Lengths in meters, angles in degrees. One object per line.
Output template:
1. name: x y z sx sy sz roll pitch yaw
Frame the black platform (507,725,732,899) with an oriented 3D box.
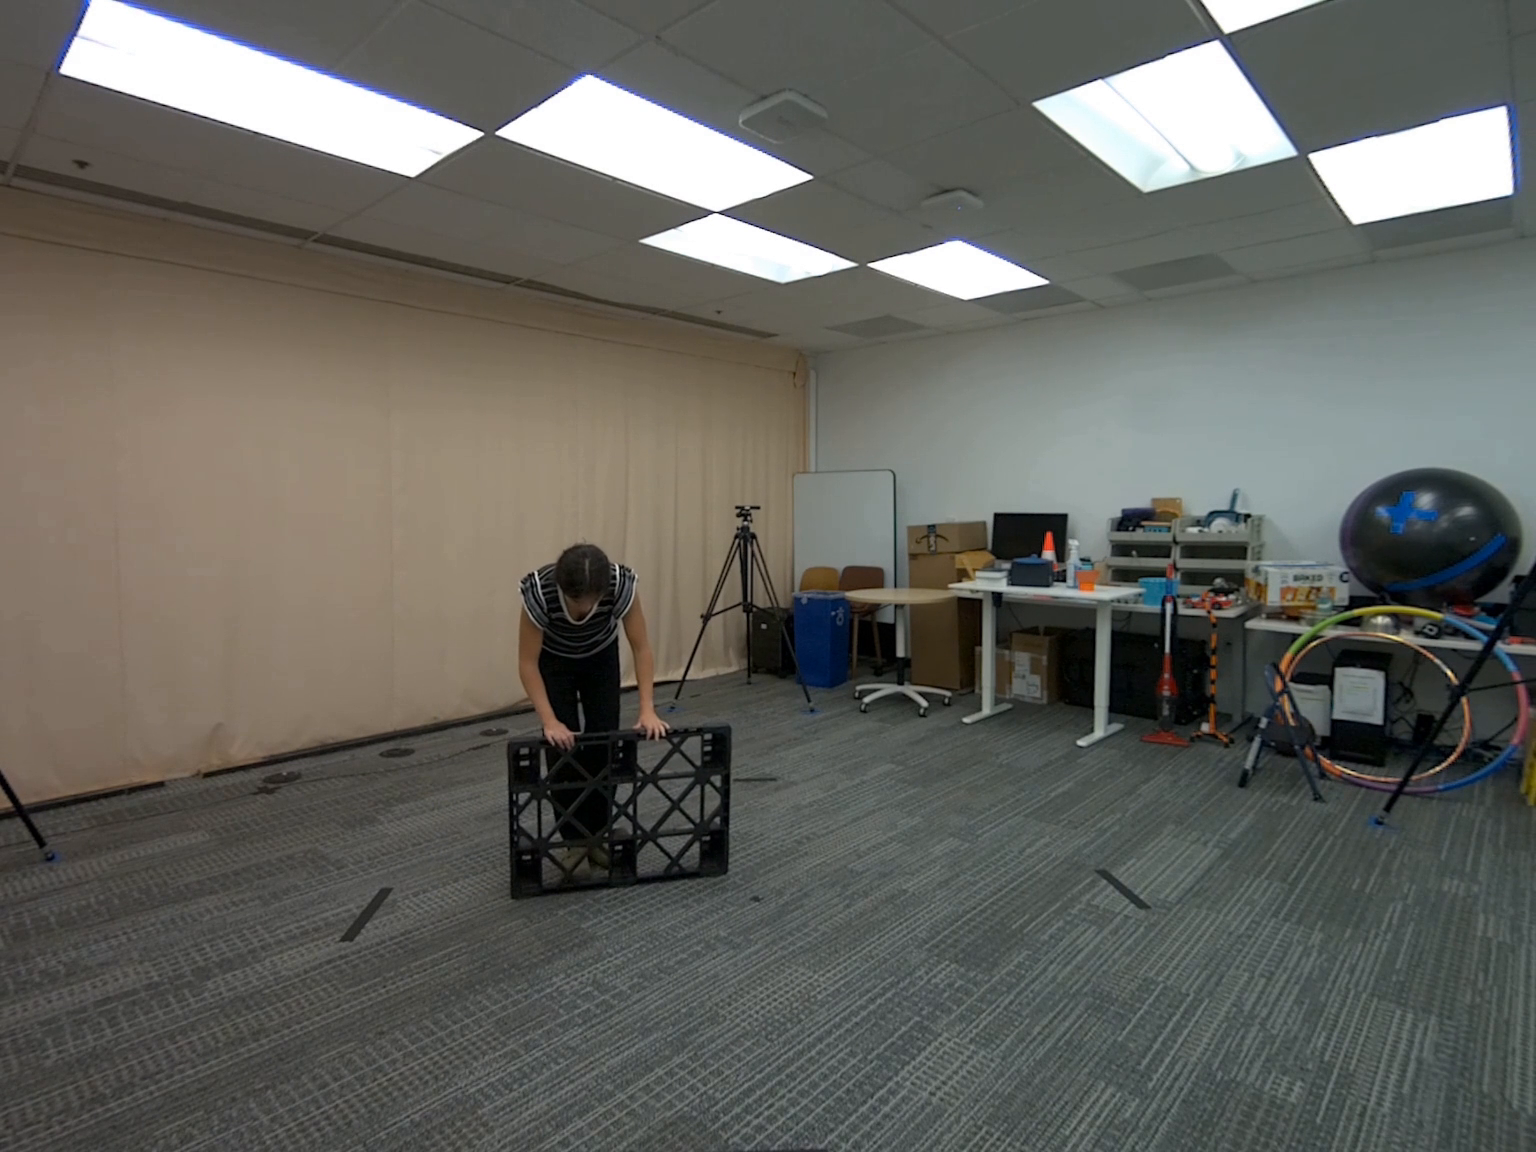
1. black platform: -0.538 0.830 3.083 0.794 0.601 0.146 -1 11 -14
